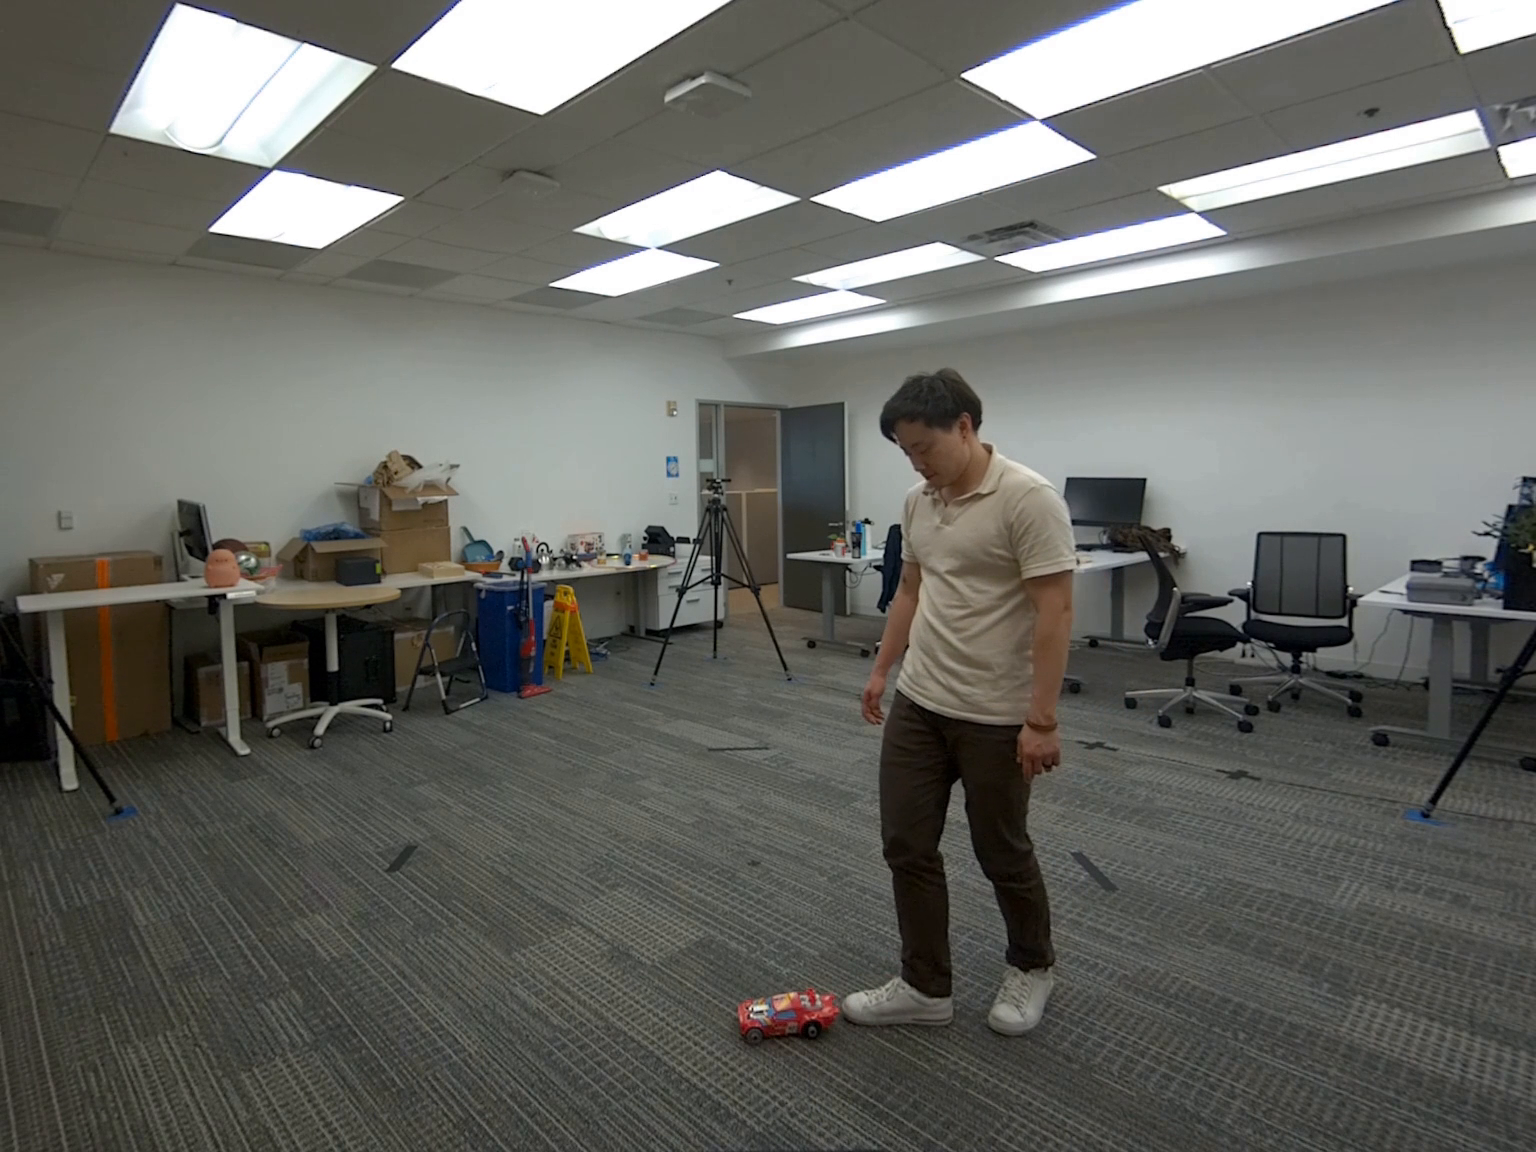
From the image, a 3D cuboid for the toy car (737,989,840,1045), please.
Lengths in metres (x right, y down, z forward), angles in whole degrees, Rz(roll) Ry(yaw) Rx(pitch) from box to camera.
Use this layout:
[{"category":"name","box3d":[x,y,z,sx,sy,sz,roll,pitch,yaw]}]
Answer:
[{"category":"toy car","box3d":[0.073,1.121,2.169,0.254,0.083,0.131,-13,6,-4]}]
